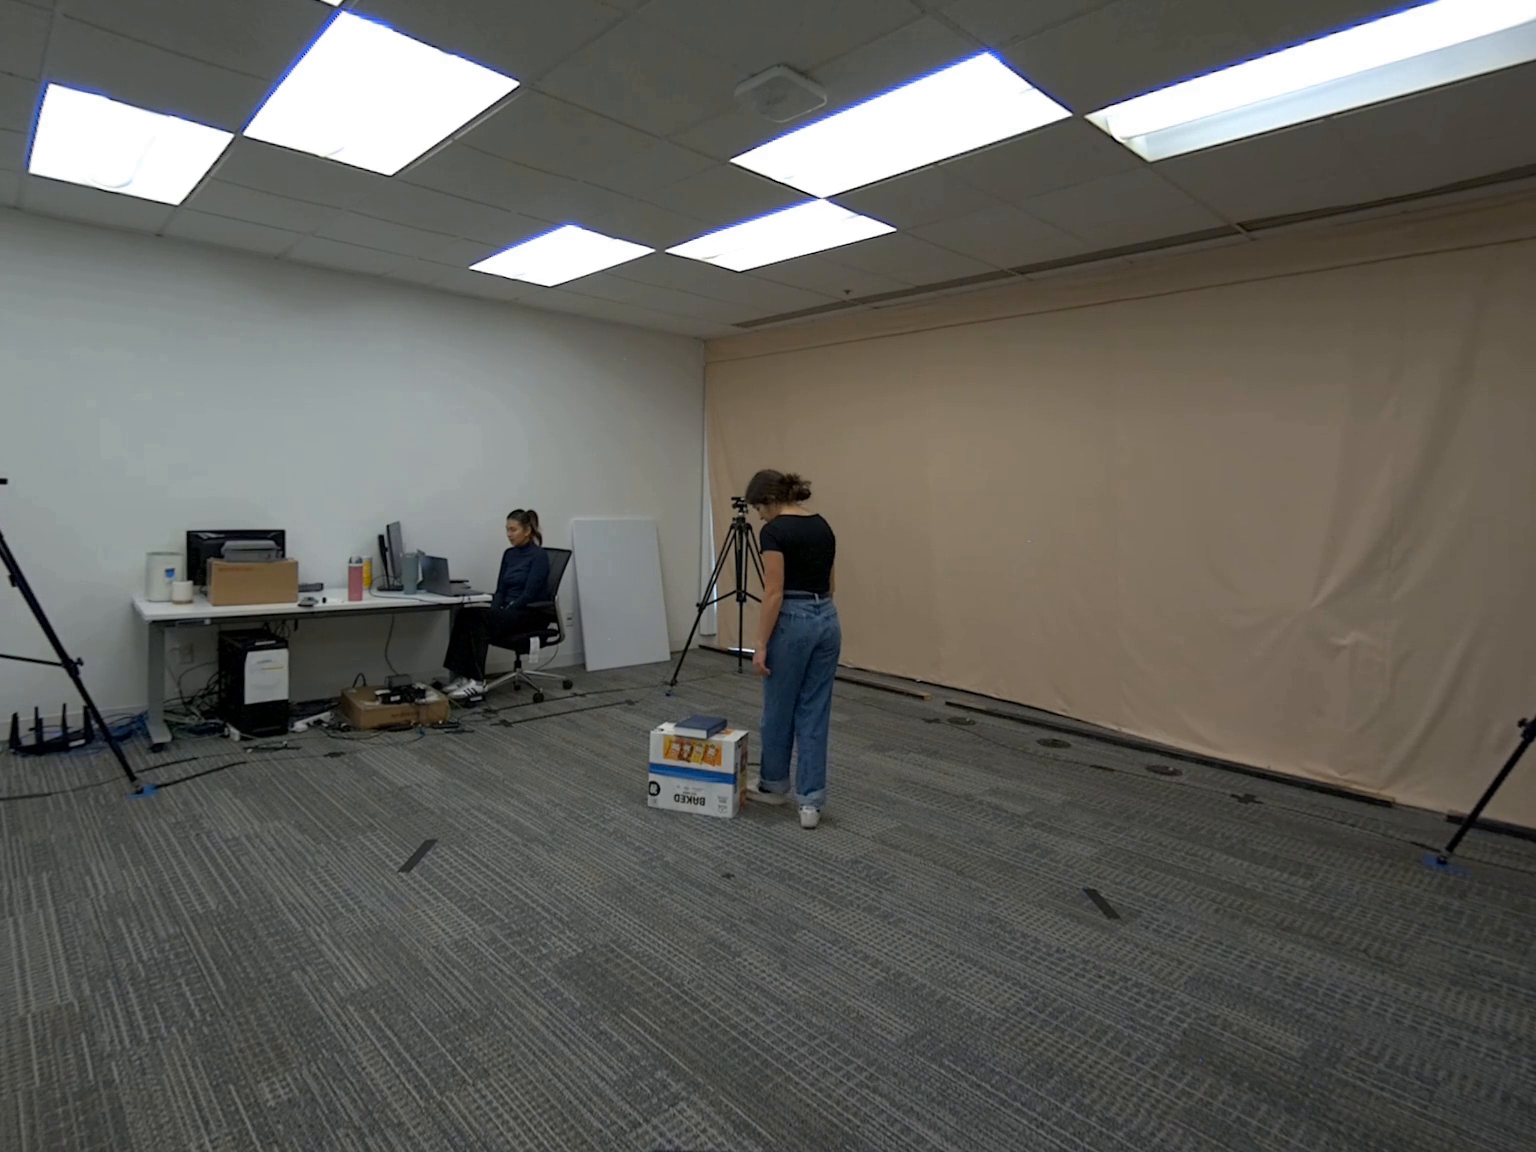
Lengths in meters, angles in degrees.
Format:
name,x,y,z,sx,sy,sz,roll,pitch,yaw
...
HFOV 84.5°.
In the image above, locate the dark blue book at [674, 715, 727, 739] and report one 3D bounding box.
name,x,y,z,sx,sy,sz,roll,pitch,yaw
dark blue book,-0.310,0.680,3.809,0.166,0.045,0.242,3,4,19
